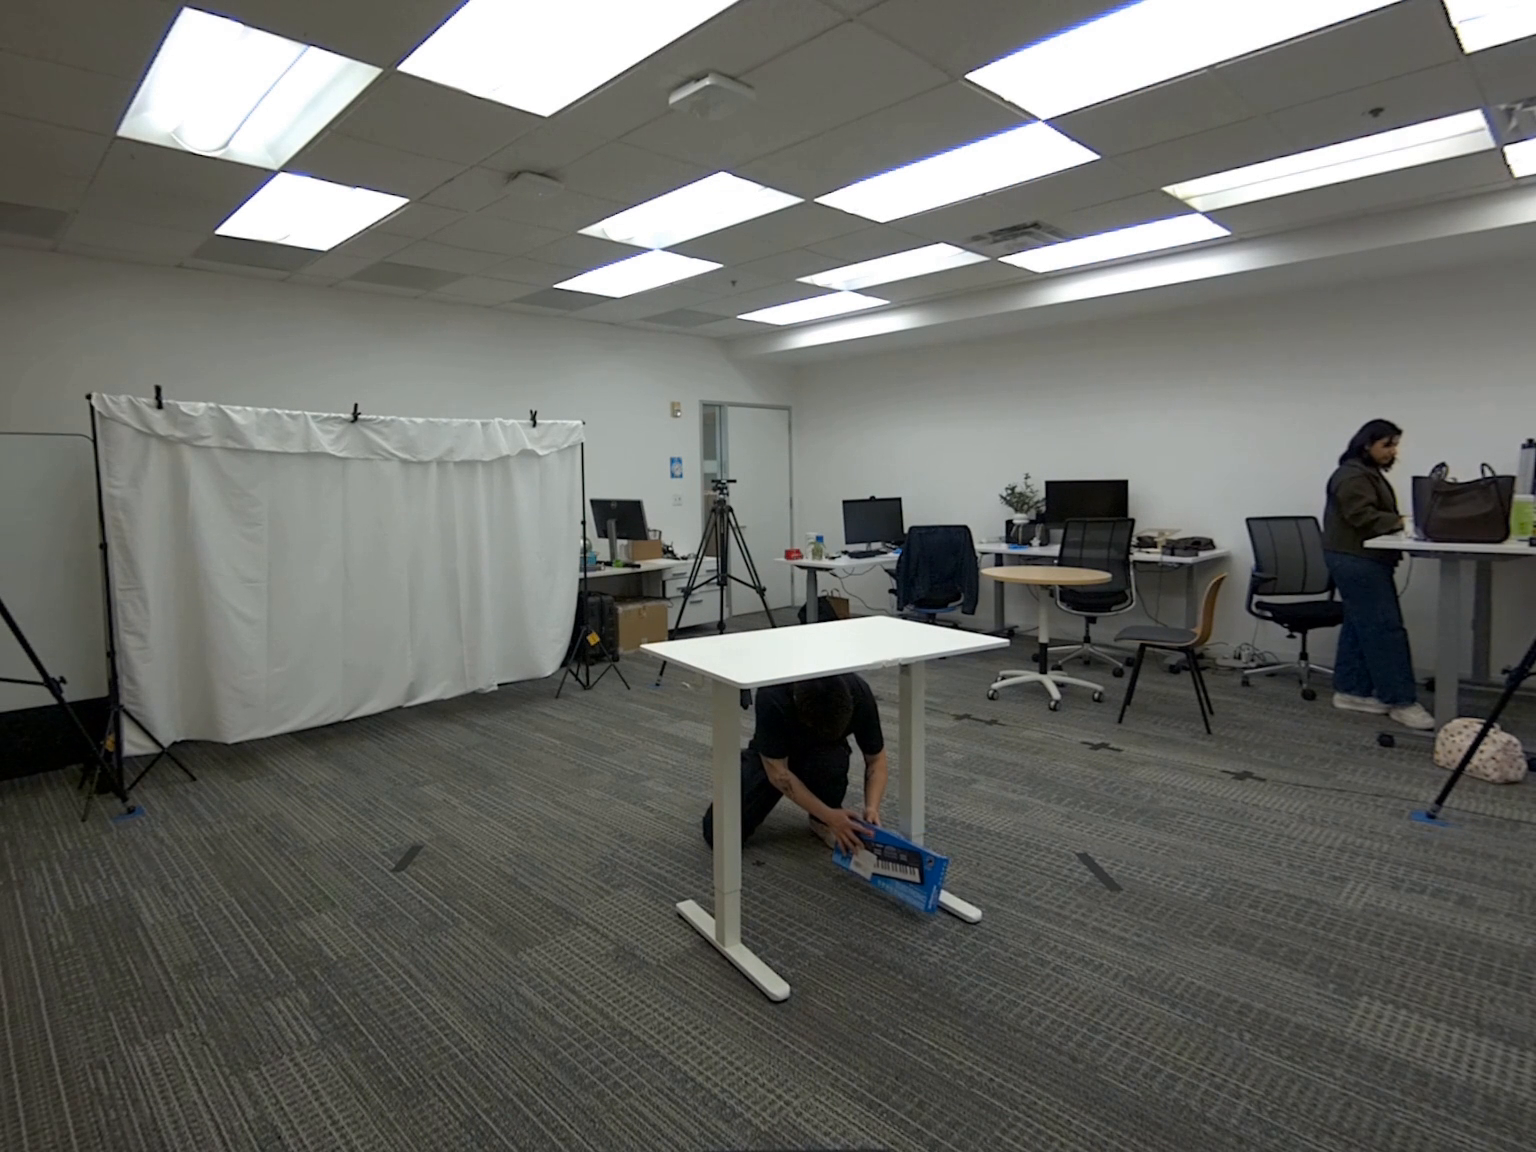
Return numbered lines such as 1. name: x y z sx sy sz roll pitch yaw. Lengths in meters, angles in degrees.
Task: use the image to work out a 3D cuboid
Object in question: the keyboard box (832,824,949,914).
1. keyboard box: 0.403 0.960 2.850 0.057 0.177 0.450 24 -10 -34
